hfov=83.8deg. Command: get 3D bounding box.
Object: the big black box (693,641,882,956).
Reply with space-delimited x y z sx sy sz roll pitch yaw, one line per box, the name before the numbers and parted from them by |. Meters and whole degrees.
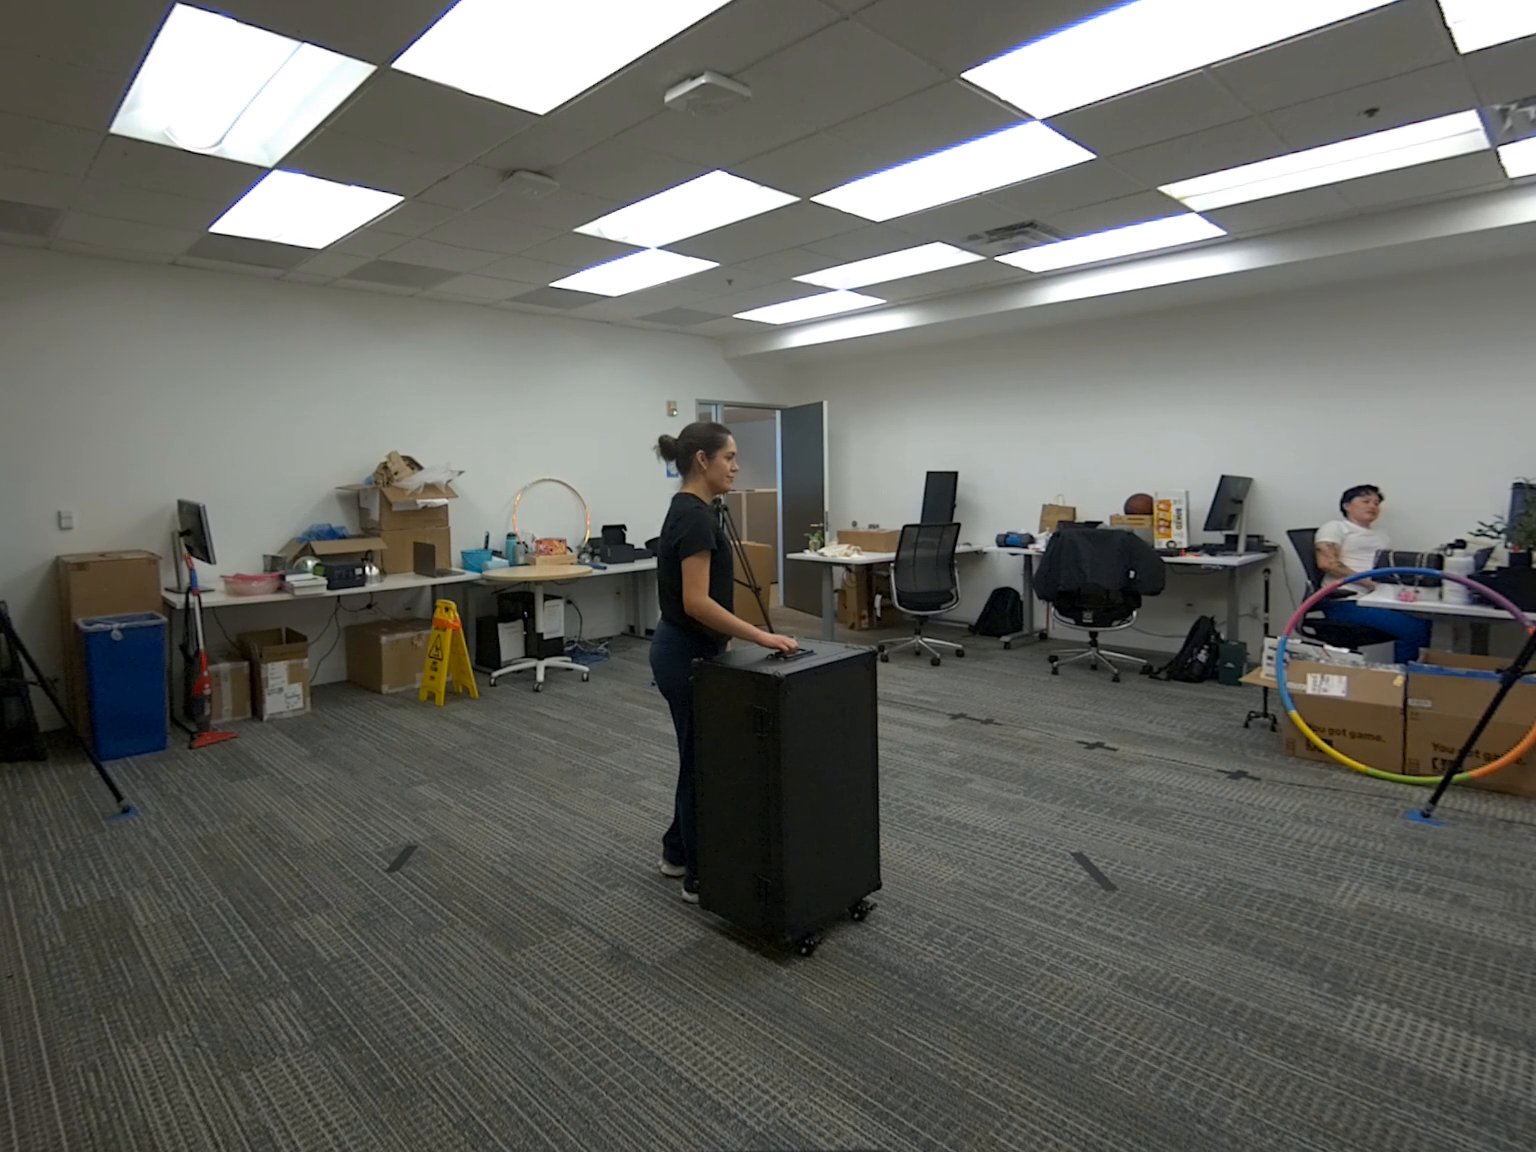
big black box | 0.056 0.666 2.695 0.408 0.858 0.508 2 6 43
